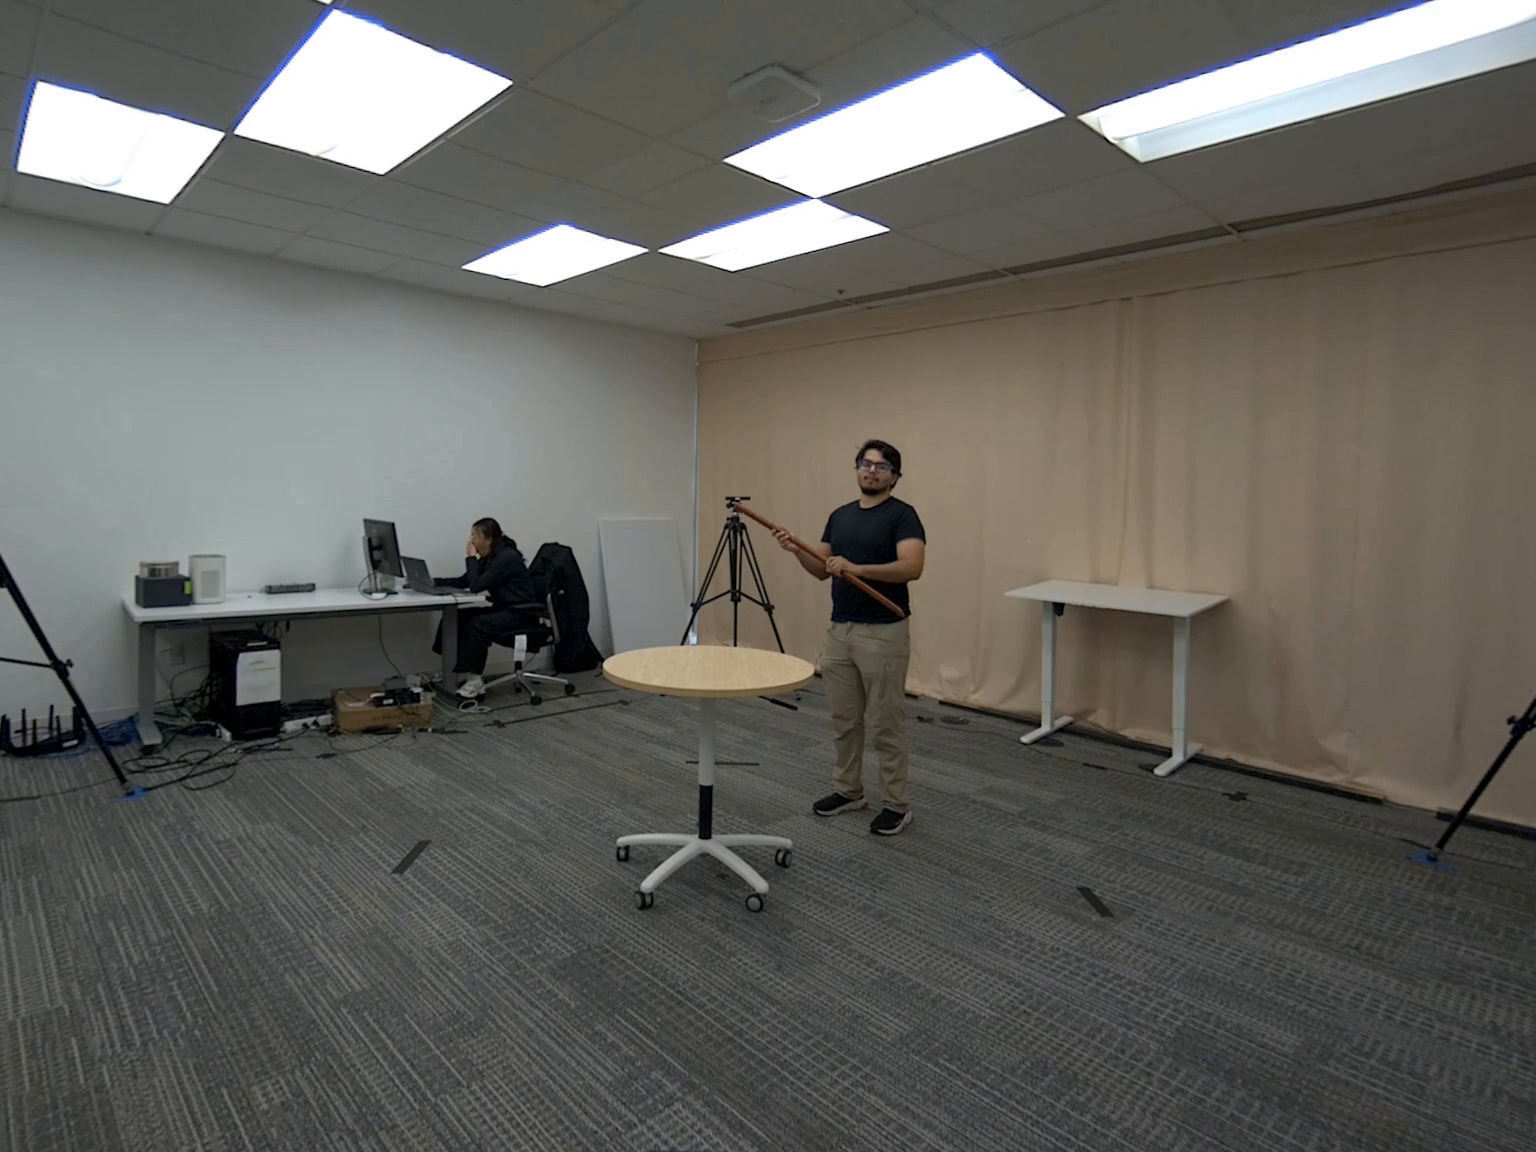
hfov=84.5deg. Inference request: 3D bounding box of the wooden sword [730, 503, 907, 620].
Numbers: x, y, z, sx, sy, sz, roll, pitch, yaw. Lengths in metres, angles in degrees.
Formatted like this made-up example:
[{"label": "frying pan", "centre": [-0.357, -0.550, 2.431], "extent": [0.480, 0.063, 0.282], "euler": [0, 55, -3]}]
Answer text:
[{"label": "wooden sword", "centre": [0.179, -0.089, 3.496], "extent": [0.050, 0.024, 1.058], "euler": [12, 18, -47]}]
